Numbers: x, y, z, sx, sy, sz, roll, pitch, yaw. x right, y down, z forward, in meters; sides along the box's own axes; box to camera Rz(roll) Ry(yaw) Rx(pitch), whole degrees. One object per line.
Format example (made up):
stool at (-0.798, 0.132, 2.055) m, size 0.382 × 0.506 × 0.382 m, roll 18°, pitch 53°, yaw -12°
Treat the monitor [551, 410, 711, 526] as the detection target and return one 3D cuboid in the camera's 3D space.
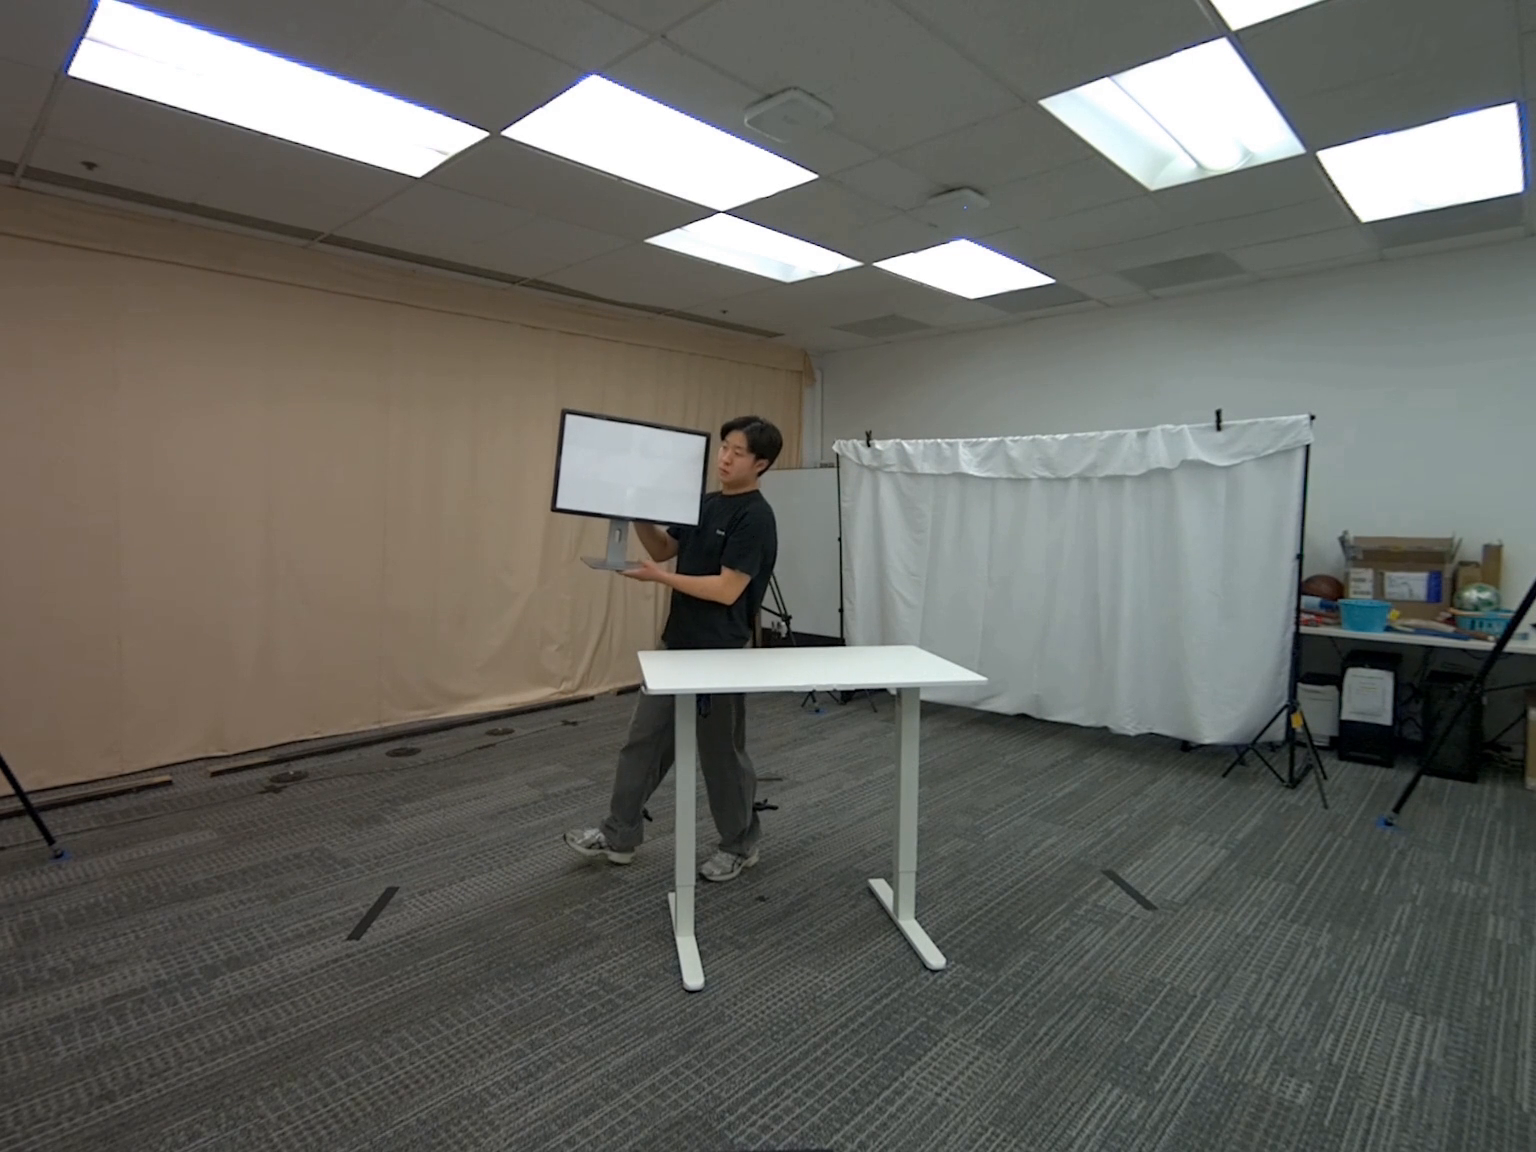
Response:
monitor at (-0.515, -0.281, 3.048) m, size 0.550 × 0.563 × 0.228 m, roll 7°, pitch 12°, yaw -19°
